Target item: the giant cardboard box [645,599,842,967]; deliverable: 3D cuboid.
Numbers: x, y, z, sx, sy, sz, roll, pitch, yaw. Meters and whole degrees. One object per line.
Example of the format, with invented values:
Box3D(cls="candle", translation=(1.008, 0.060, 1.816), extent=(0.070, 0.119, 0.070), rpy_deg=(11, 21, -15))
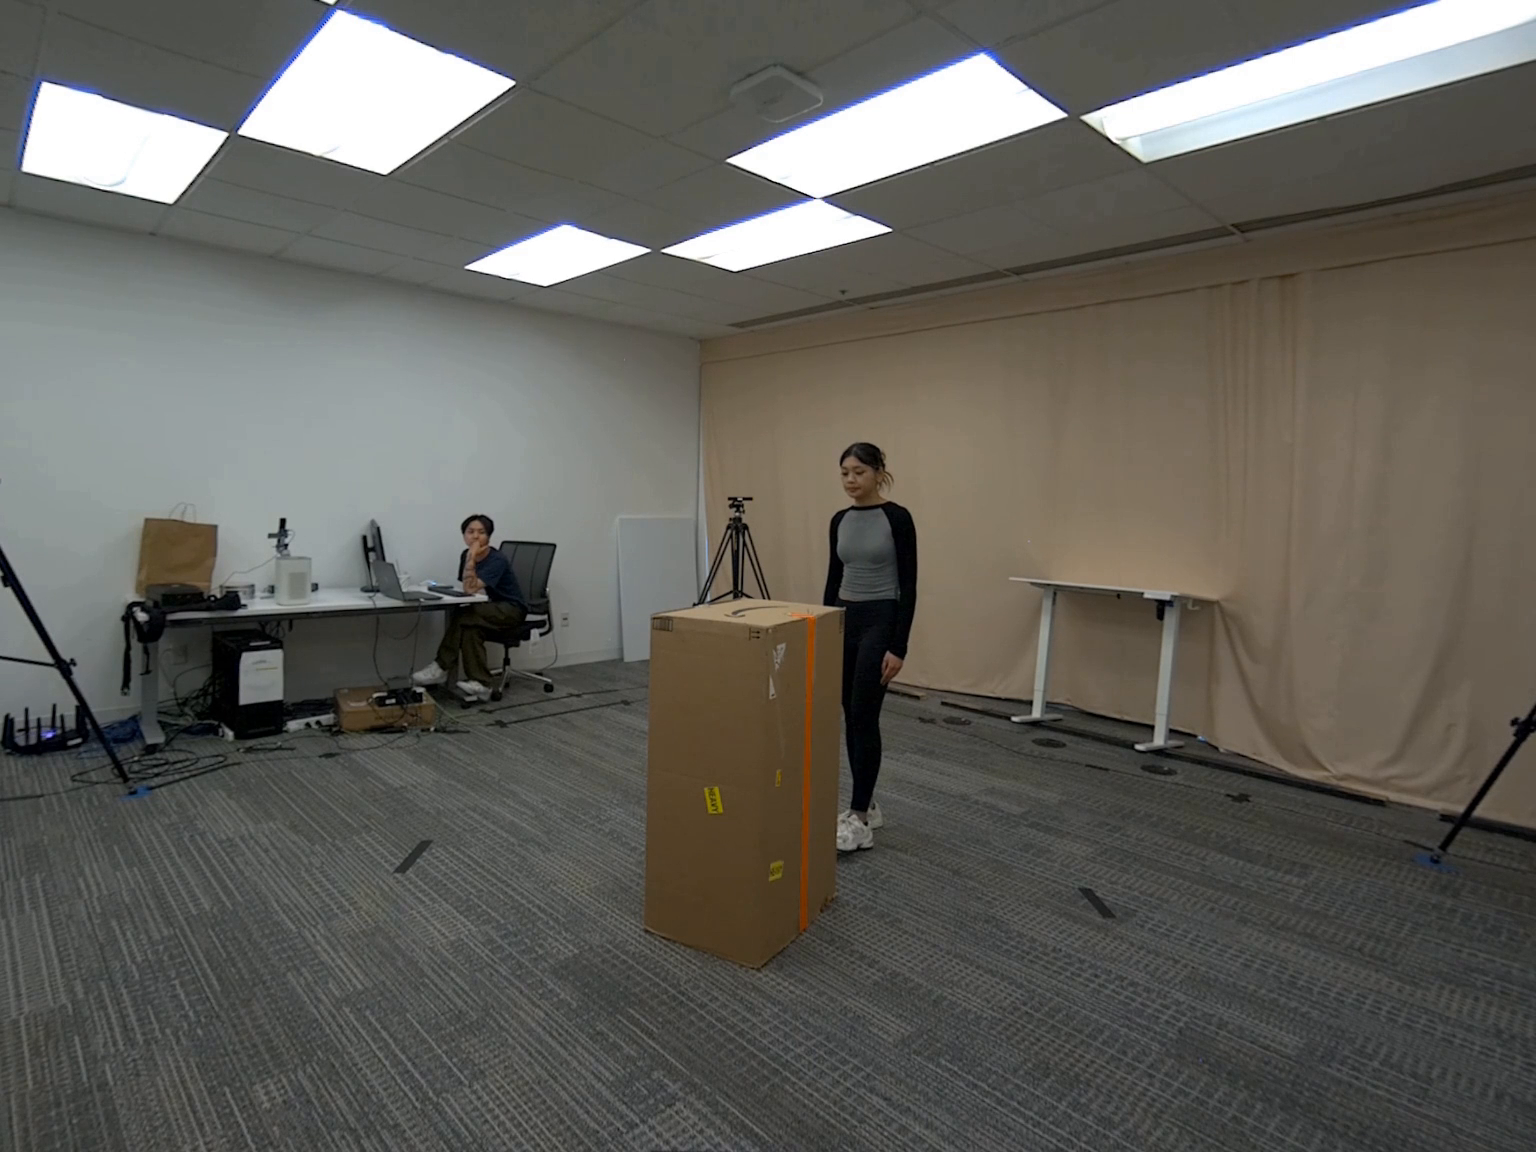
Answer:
Box3D(cls="giant cardboard box", translation=(-0.067, 0.629, 2.807), extent=(0.456, 1.025, 0.573), rpy_deg=(2, 3, 29))
